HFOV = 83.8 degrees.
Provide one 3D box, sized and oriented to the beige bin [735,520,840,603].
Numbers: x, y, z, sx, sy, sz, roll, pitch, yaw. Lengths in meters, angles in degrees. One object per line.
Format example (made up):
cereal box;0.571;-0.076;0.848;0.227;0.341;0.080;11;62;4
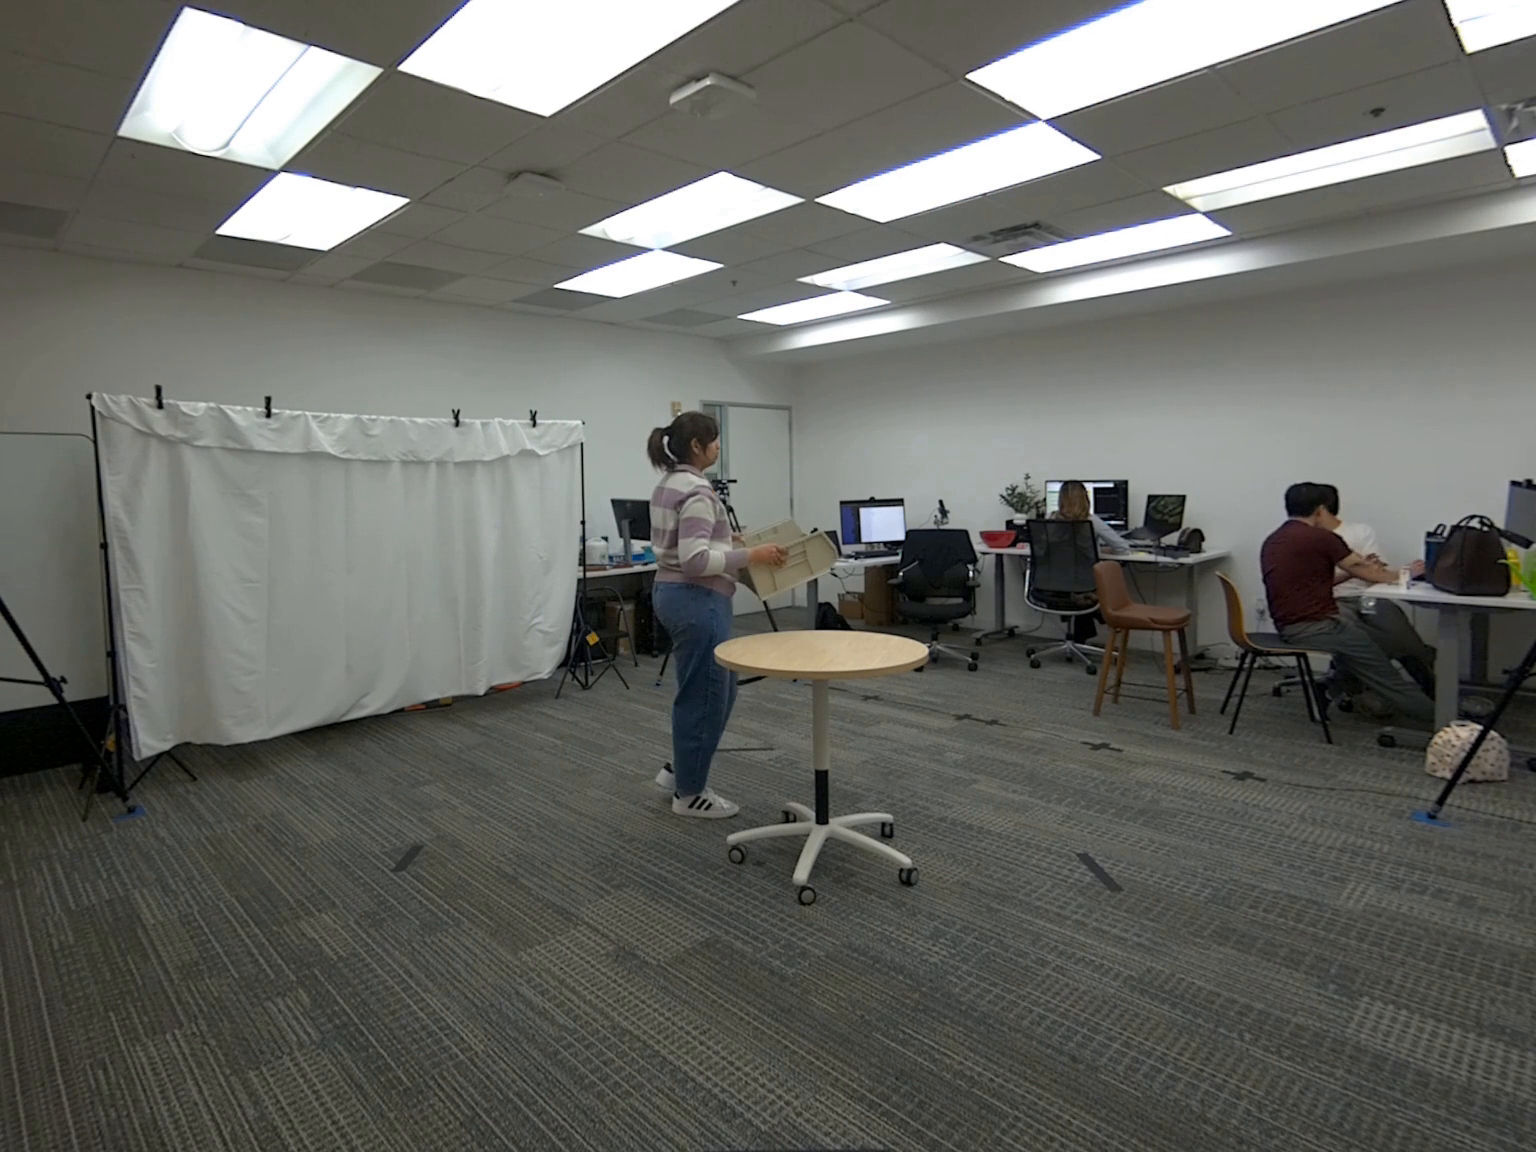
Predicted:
beige bin;0.056;-0.082;3.625;0.375;0.185;0.433;-22;18;-11
